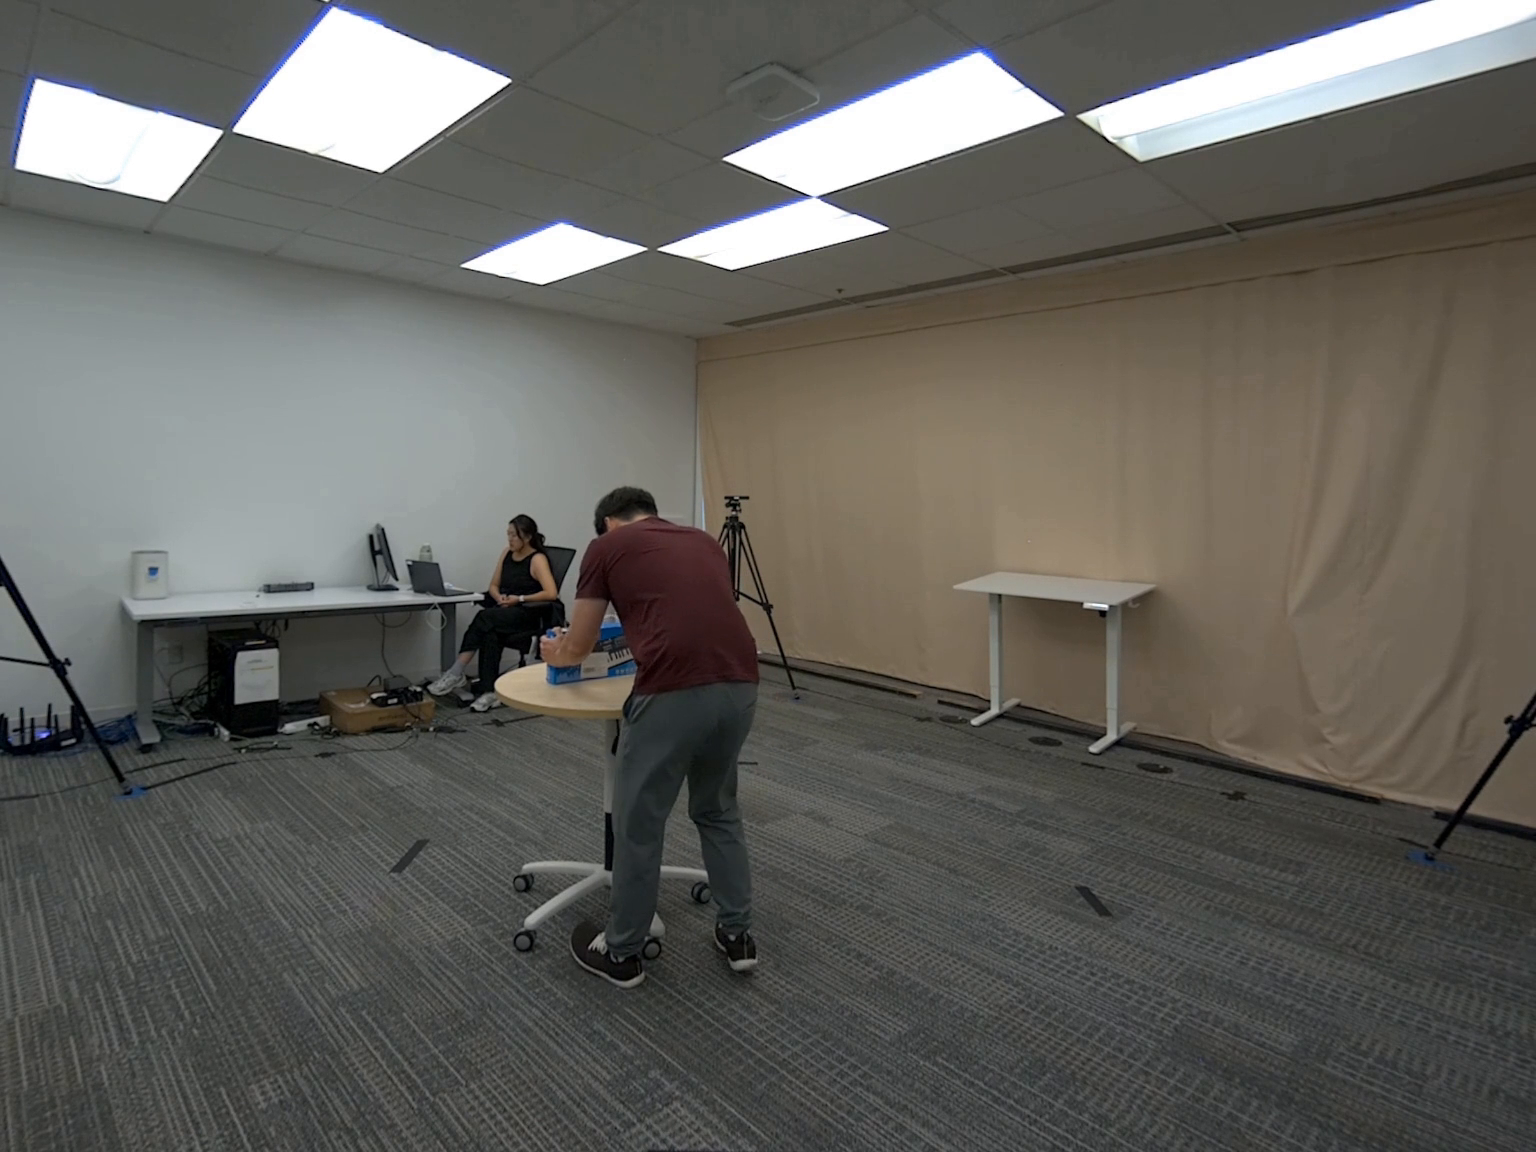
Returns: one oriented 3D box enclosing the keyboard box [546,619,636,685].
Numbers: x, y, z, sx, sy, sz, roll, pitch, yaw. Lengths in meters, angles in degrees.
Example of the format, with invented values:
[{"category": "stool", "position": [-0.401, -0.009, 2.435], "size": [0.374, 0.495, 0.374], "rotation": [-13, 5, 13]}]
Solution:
[{"category": "keyboard box", "position": [-0.545, 0.260, 2.849], "size": [0.427, 0.175, 0.060], "rotation": [-4, 5, -40]}]
